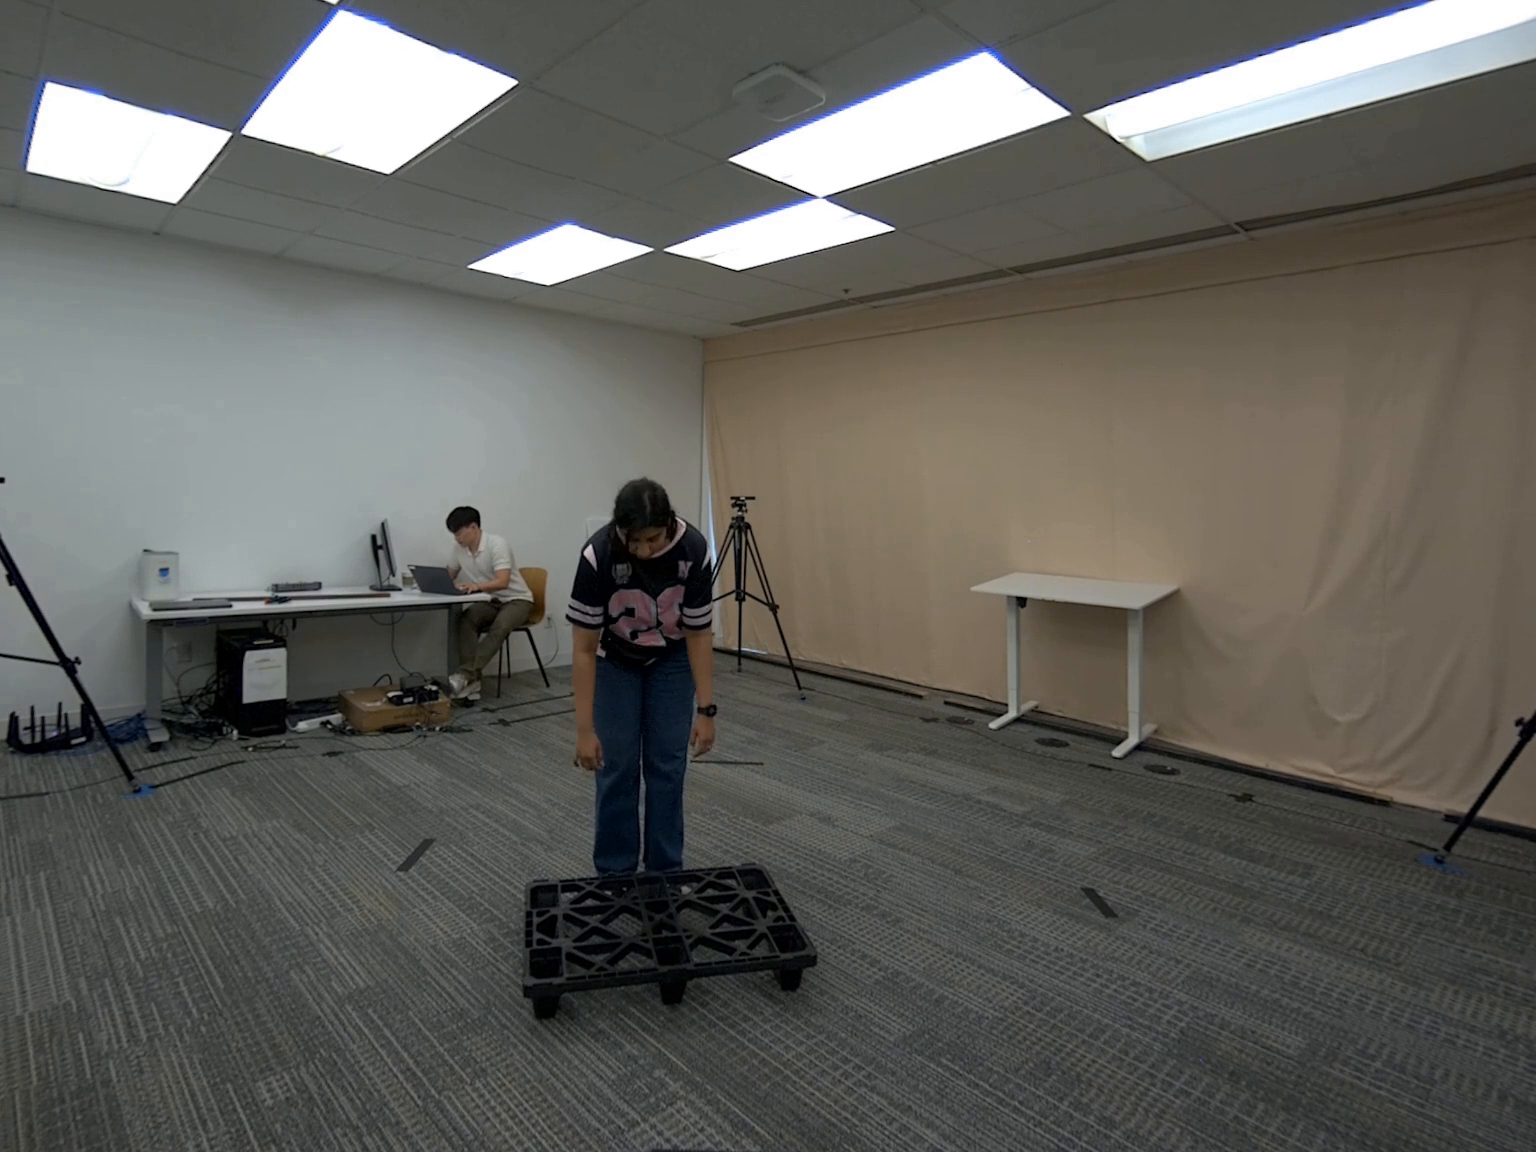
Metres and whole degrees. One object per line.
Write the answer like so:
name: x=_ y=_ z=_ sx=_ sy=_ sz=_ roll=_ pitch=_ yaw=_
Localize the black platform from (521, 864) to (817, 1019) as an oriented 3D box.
black platform: x=-0.327 y=1.081 z=2.536 sx=0.797 sy=0.143 sz=0.613 roll=0 pitch=5 yaw=-13
